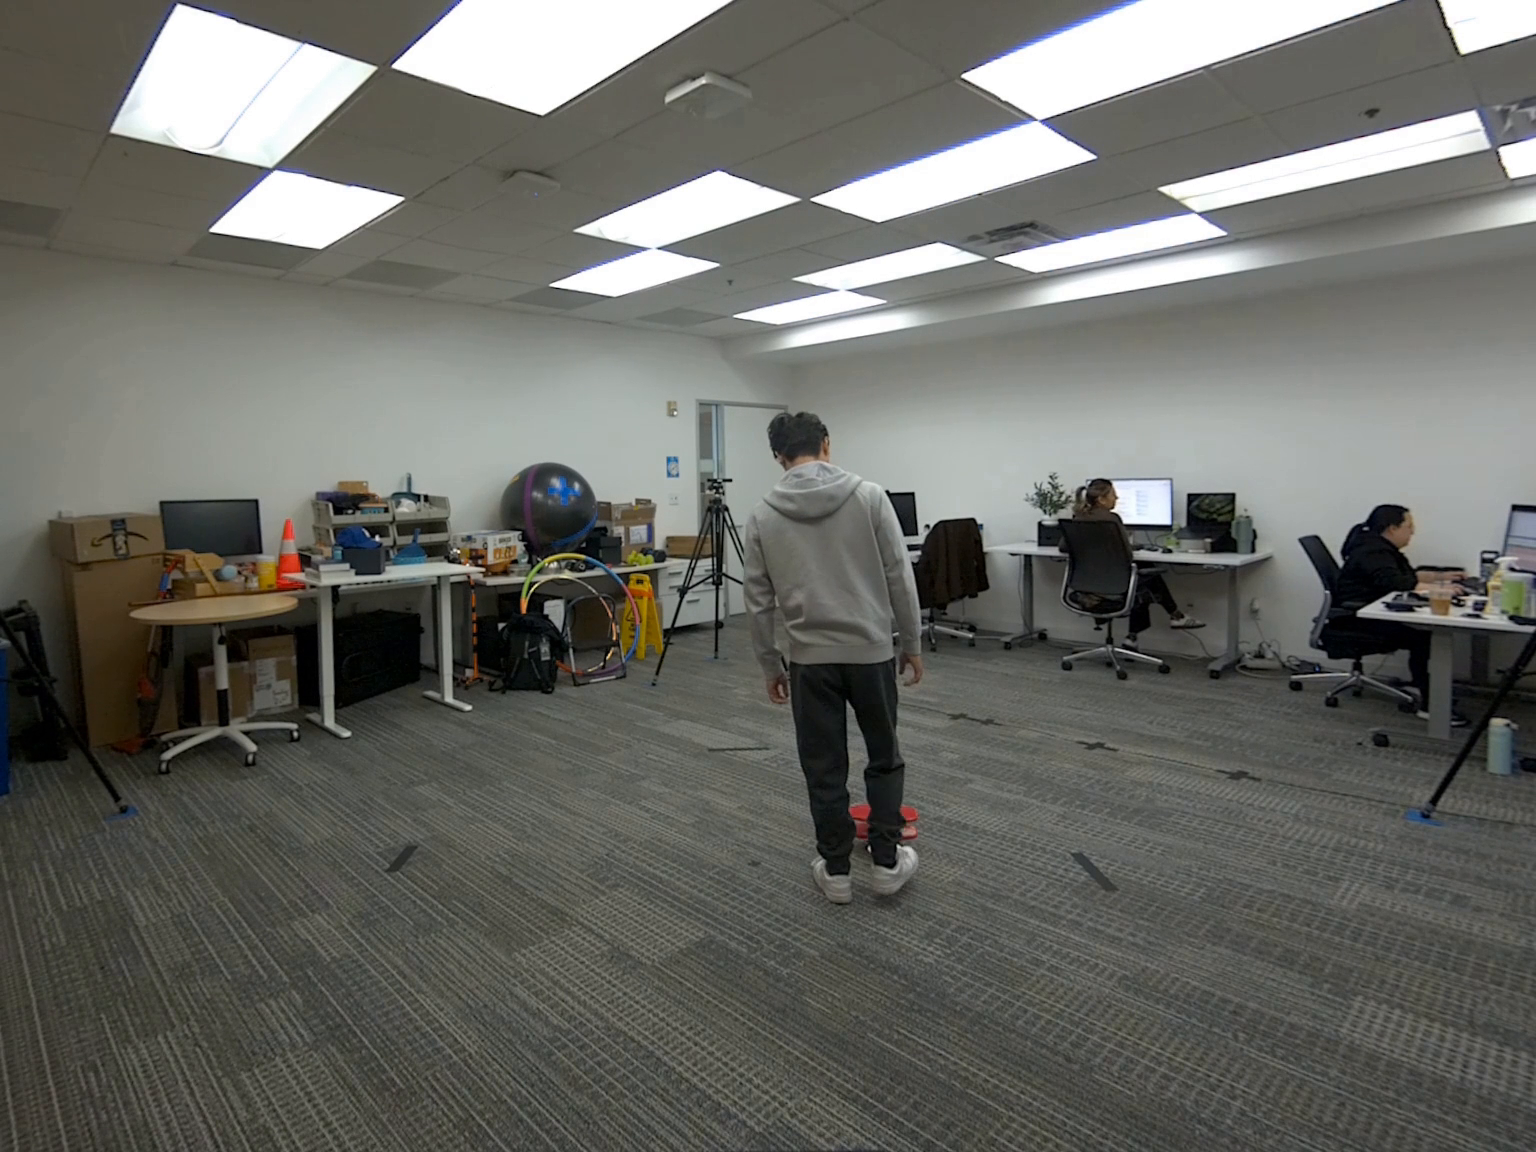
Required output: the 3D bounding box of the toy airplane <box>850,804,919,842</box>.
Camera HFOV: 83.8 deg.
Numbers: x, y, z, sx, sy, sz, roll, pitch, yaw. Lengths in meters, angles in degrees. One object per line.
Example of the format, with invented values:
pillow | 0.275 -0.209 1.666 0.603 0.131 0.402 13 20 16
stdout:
toy airplane | 0.457 0.958 3.179 0.246 0.156 0.265 -4 5 -23
